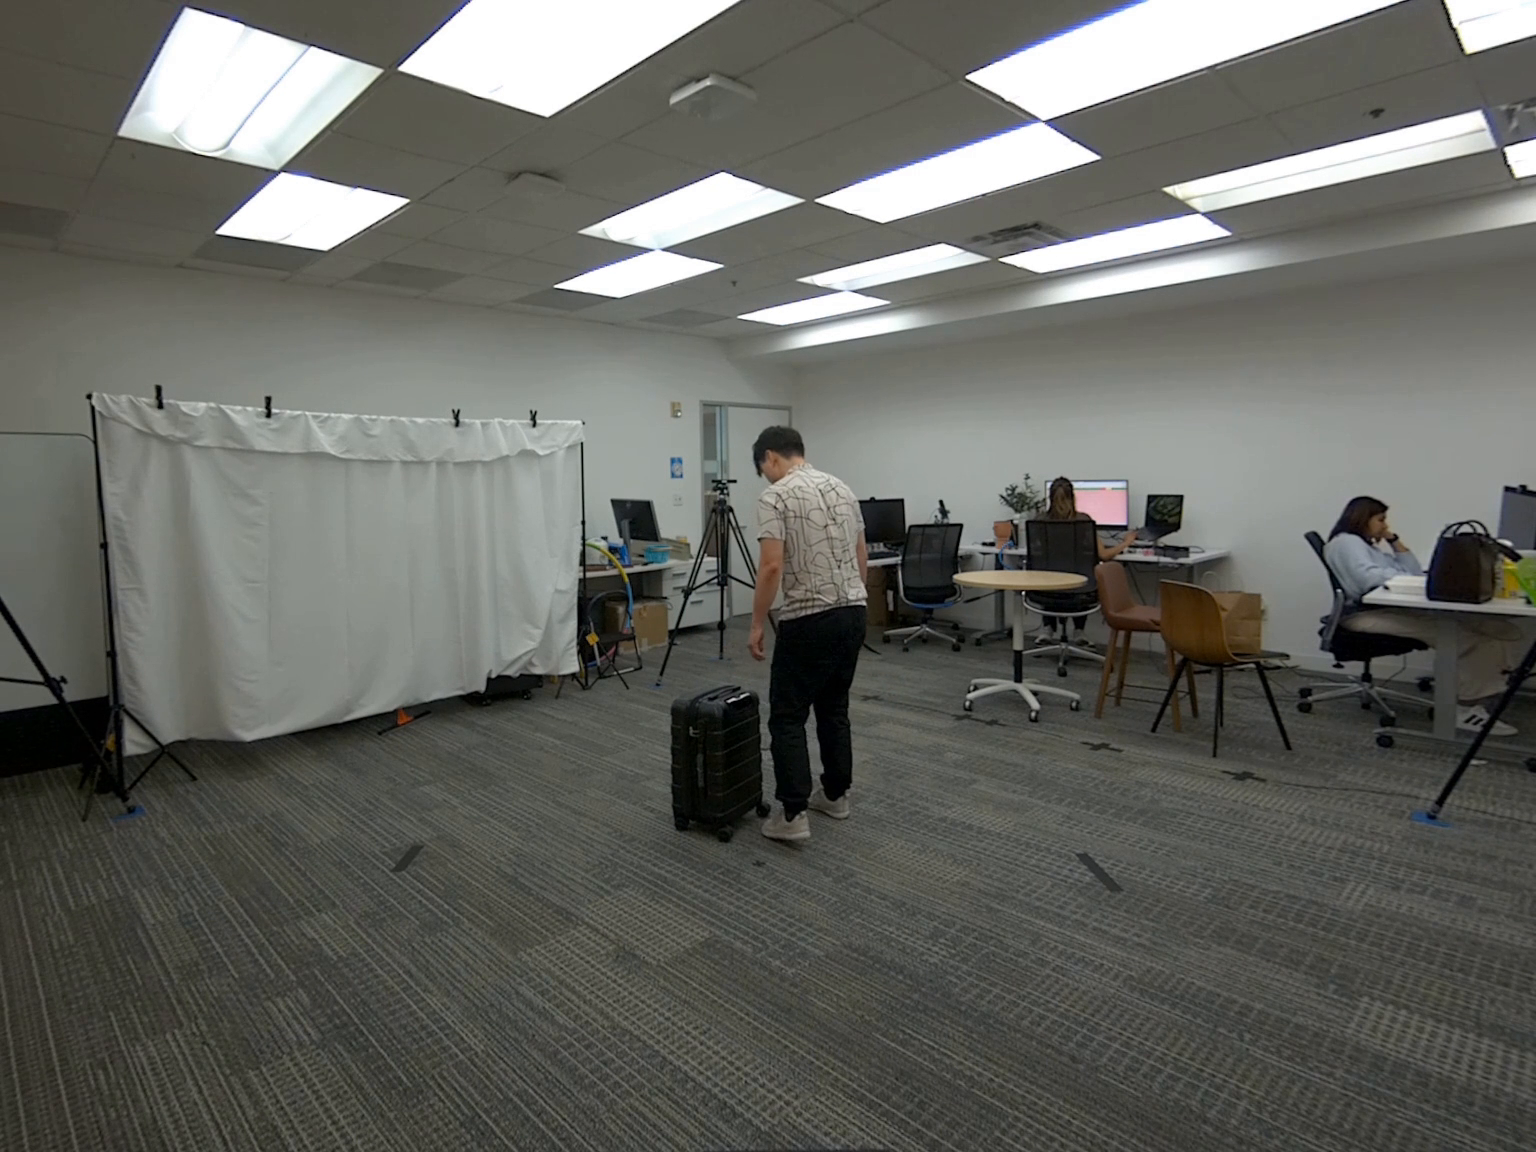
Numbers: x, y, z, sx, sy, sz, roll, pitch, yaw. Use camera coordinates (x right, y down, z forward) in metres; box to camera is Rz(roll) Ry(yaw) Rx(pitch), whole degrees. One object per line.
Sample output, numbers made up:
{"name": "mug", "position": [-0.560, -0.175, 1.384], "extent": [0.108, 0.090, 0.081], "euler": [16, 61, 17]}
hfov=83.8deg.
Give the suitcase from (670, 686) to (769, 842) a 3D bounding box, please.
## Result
{"name": "suitcase", "position": [-0.205, 0.730, 3.482], "extent": [0.255, 0.547, 0.367], "euler": [1, 5, 33]}
